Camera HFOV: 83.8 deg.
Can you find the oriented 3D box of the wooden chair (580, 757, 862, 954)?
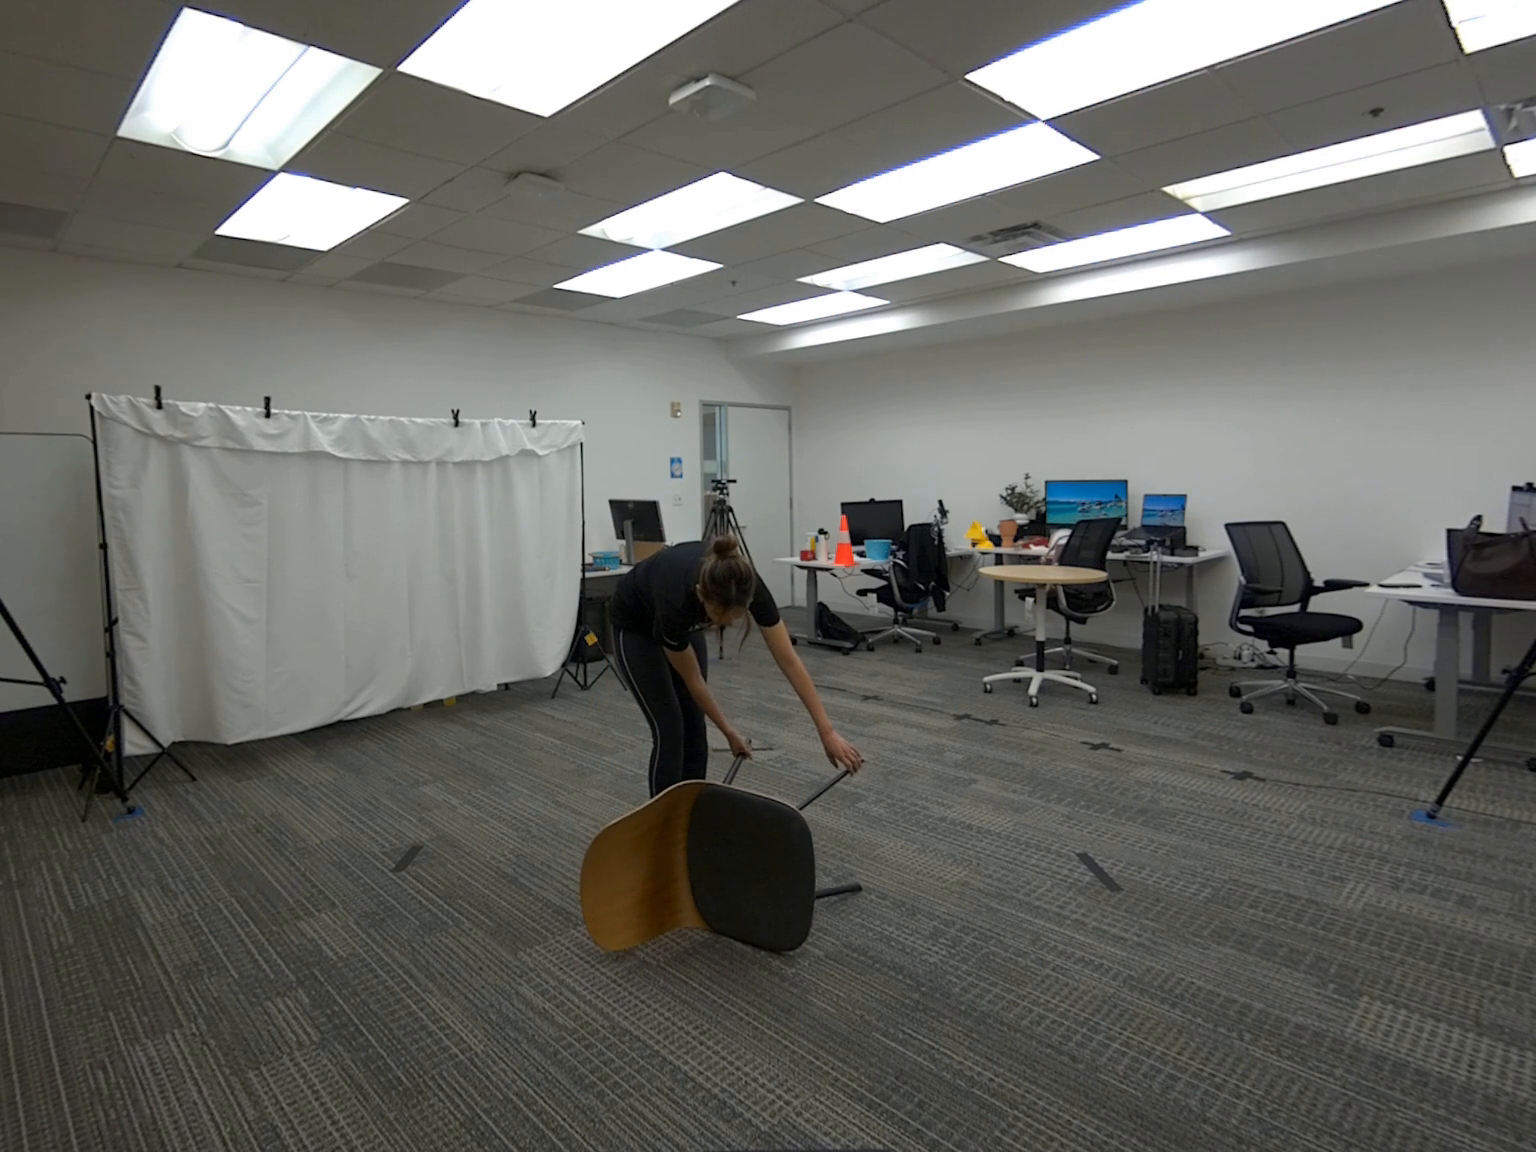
[{"bbox_3d":[-0.078,0.871,2.629,0.538,0.475,0.857,4,8,35],"label":"wooden chair"}]
